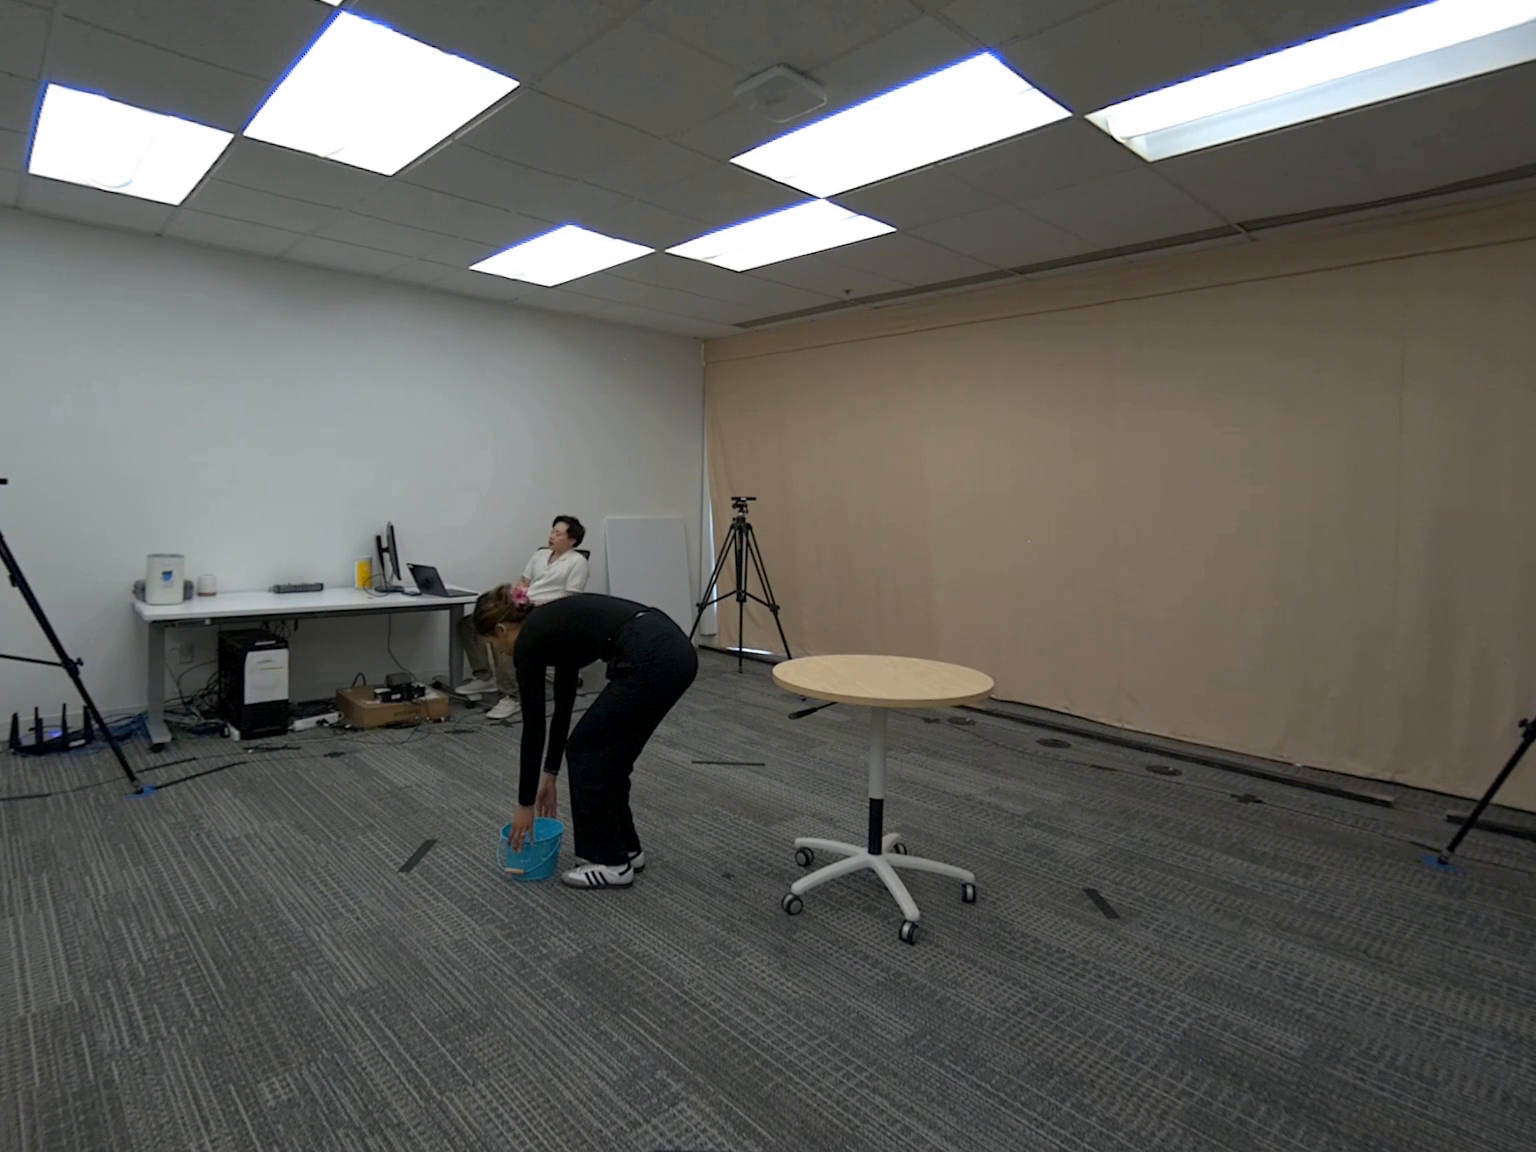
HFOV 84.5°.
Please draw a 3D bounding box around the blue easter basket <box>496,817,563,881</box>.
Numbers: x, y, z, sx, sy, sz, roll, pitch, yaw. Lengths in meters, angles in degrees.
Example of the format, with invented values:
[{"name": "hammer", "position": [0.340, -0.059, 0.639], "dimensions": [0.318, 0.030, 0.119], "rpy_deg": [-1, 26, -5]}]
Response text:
[{"name": "blue easter basket", "position": [-0.873, 1.004, 3.113], "dimensions": [0.243, 0.155, 0.244], "rpy_deg": [2, 4, -1]}]
